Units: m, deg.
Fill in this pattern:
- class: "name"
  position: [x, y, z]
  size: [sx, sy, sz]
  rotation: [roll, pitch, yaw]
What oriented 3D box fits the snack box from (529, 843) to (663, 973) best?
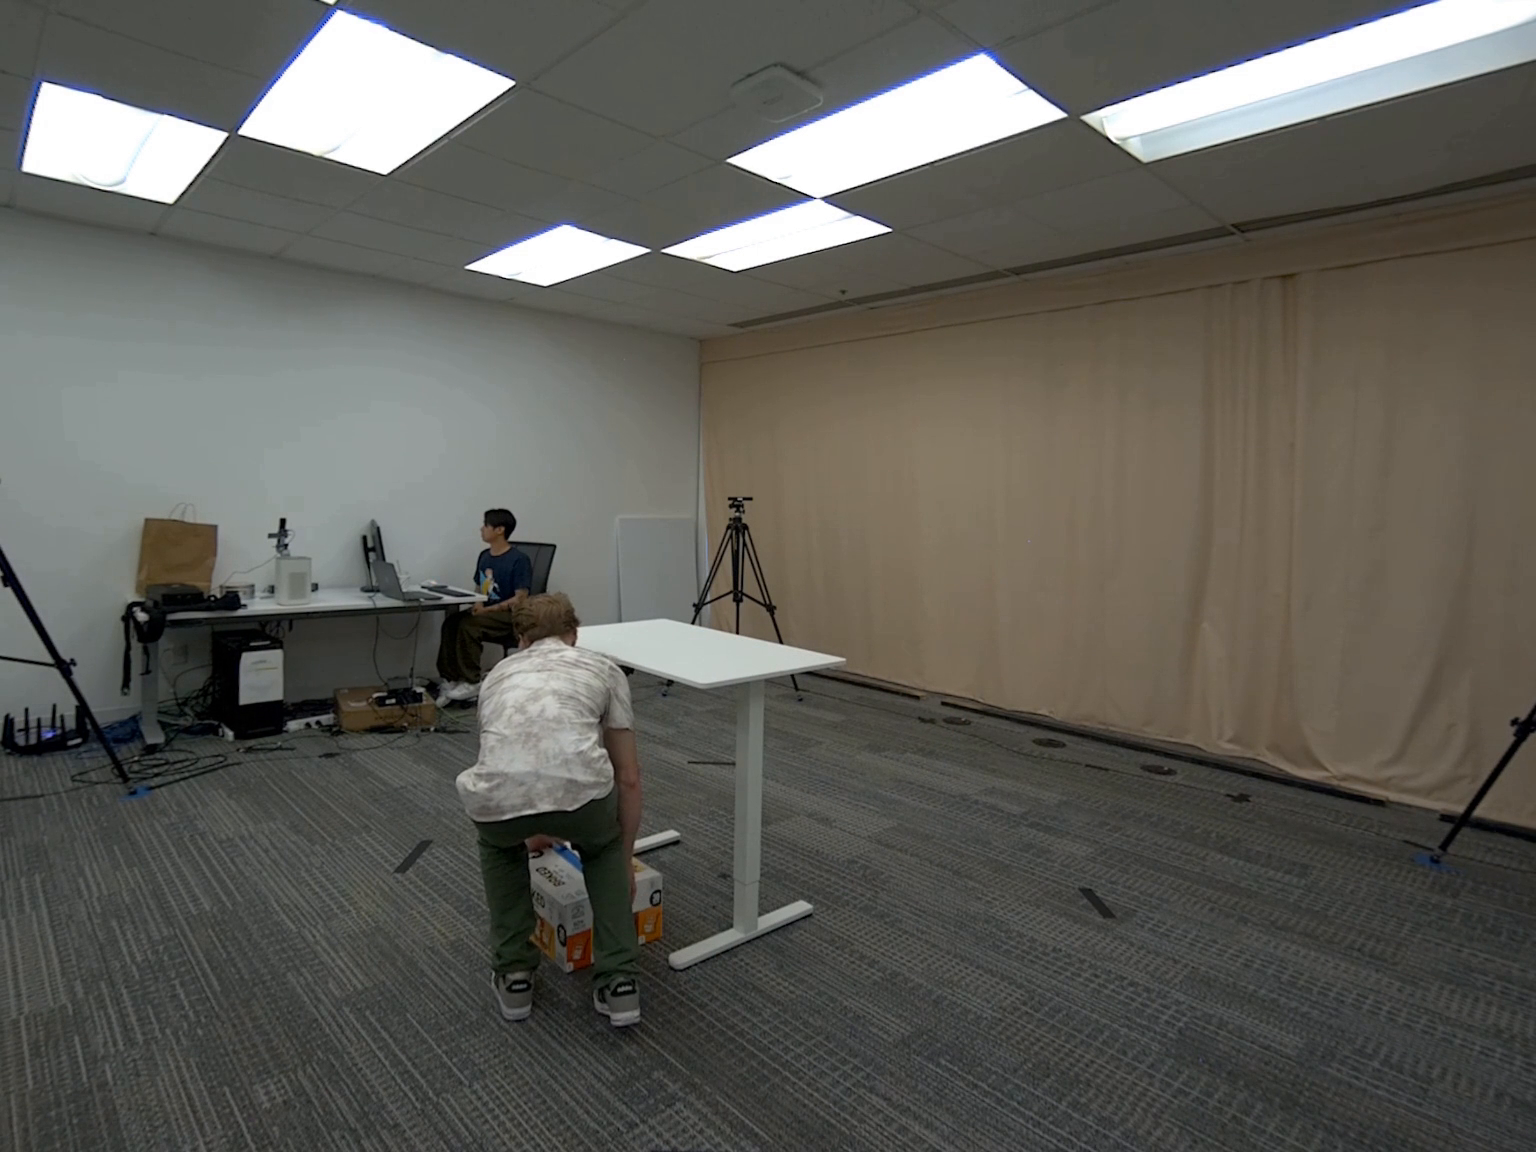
- class: "snack box"
  position: [-0.603, 1.035, 2.696]
  size: [0.333, 0.205, 0.415]
  rotation: [-3, 6, -40]
